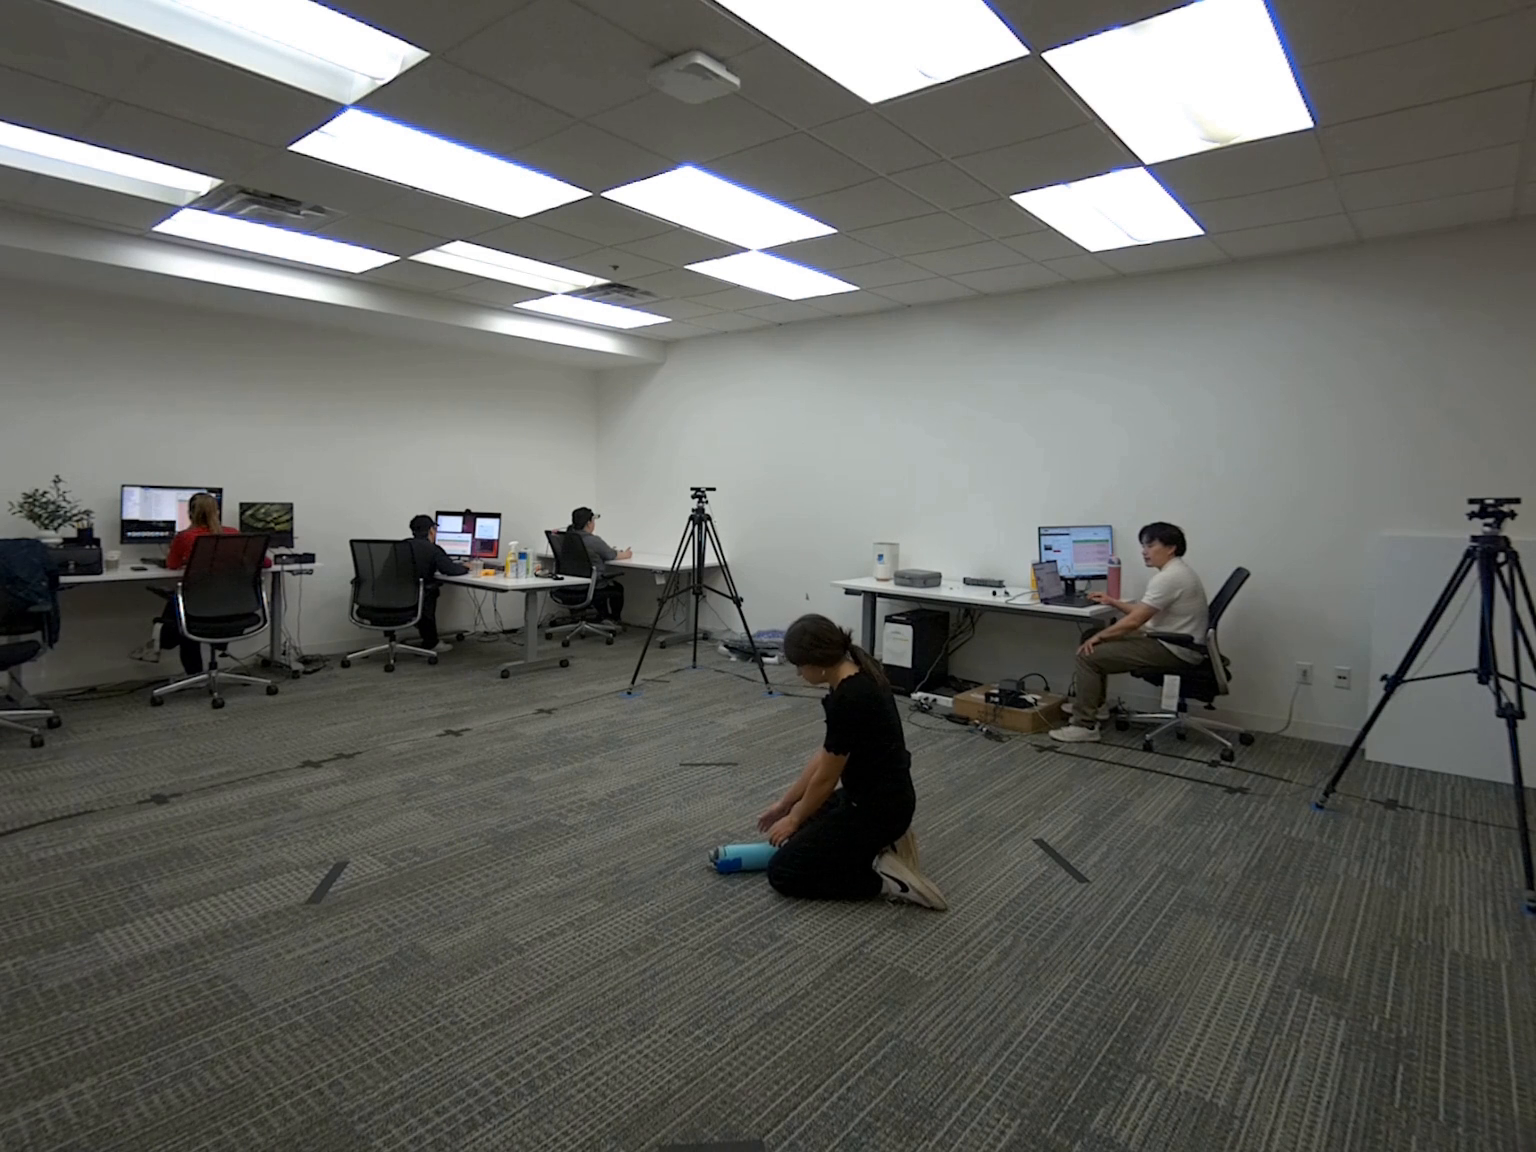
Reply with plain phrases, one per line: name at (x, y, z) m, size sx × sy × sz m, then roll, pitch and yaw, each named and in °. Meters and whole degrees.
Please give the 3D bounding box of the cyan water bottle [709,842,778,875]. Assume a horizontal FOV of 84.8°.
cyan water bottle at (-0.084, 1.025, 3.110) m, size 0.279 × 0.092 × 0.094 m, roll 0°, pitch 4°, yaw -13°
